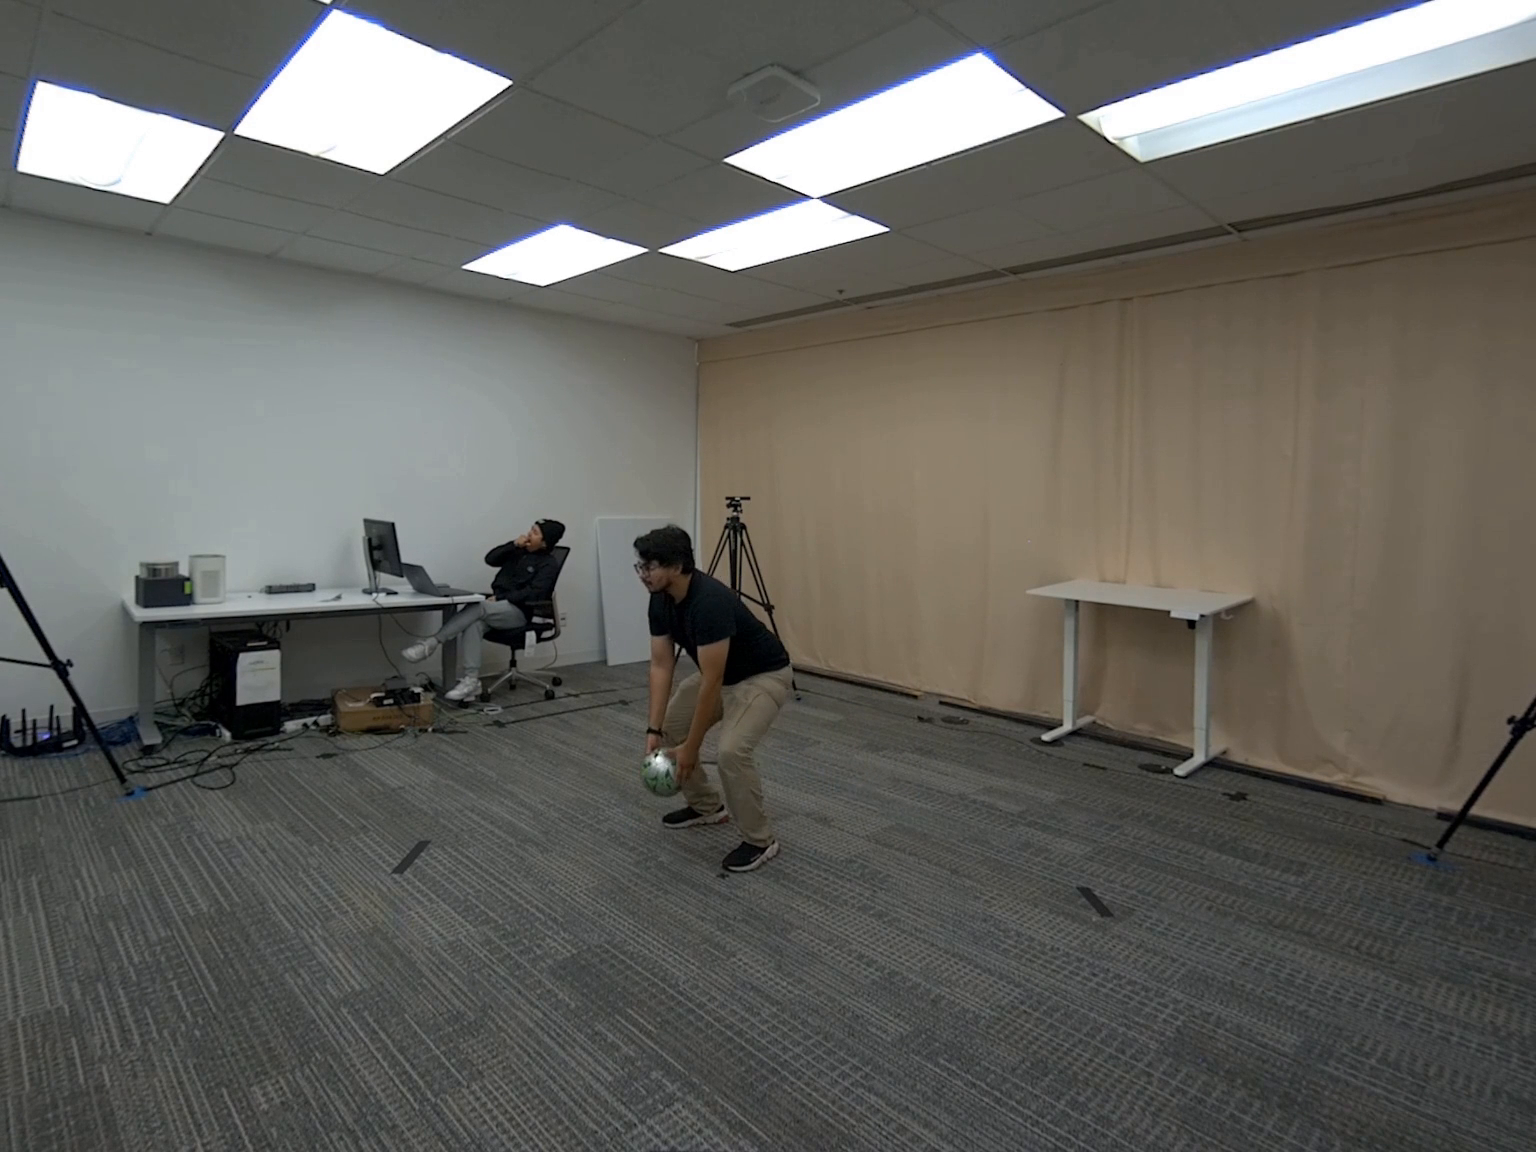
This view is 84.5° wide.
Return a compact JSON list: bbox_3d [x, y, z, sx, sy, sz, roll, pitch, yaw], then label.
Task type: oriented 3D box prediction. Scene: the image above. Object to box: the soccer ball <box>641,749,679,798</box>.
[{"bbox_3d":[-0.411,0.750,3.264,0.187,0.187,0.188,1,4,-1],"label":"soccer ball"}]
